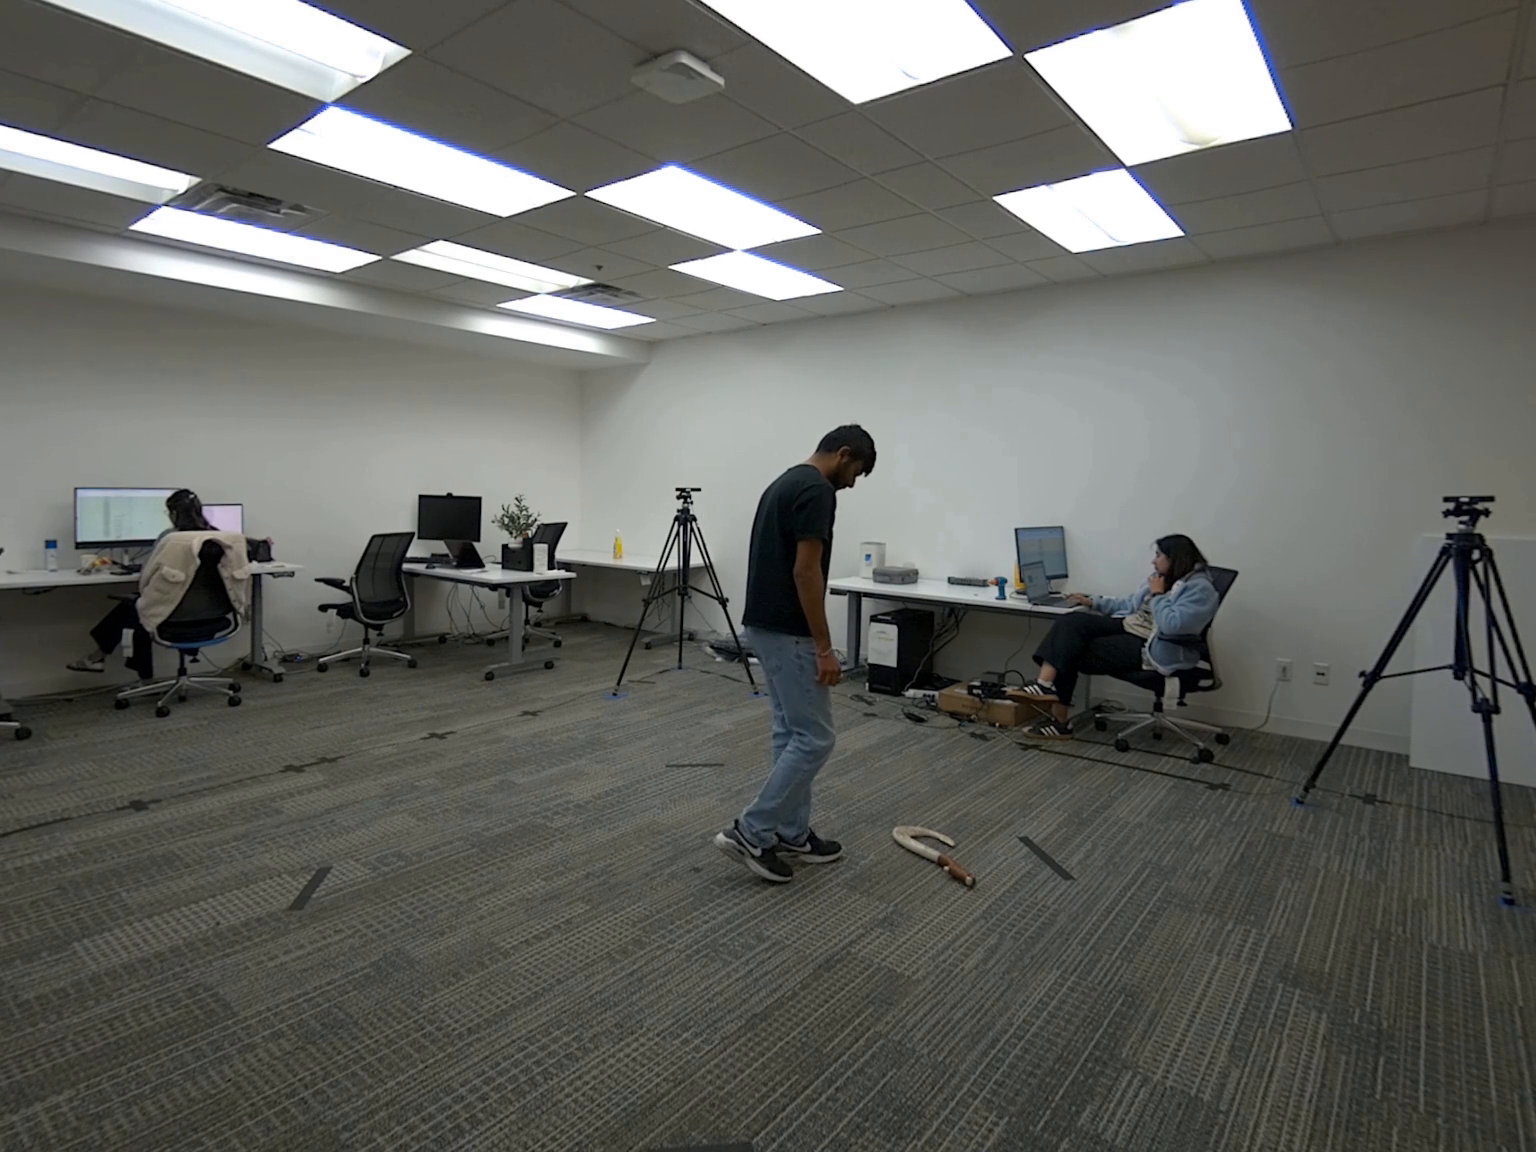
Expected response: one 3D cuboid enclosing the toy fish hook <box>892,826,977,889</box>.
[{"bbox_3d":[0.664,1.049,3.249,0.220,0.048,0.520,-3,8,-24],"label":"toy fish hook"}]
